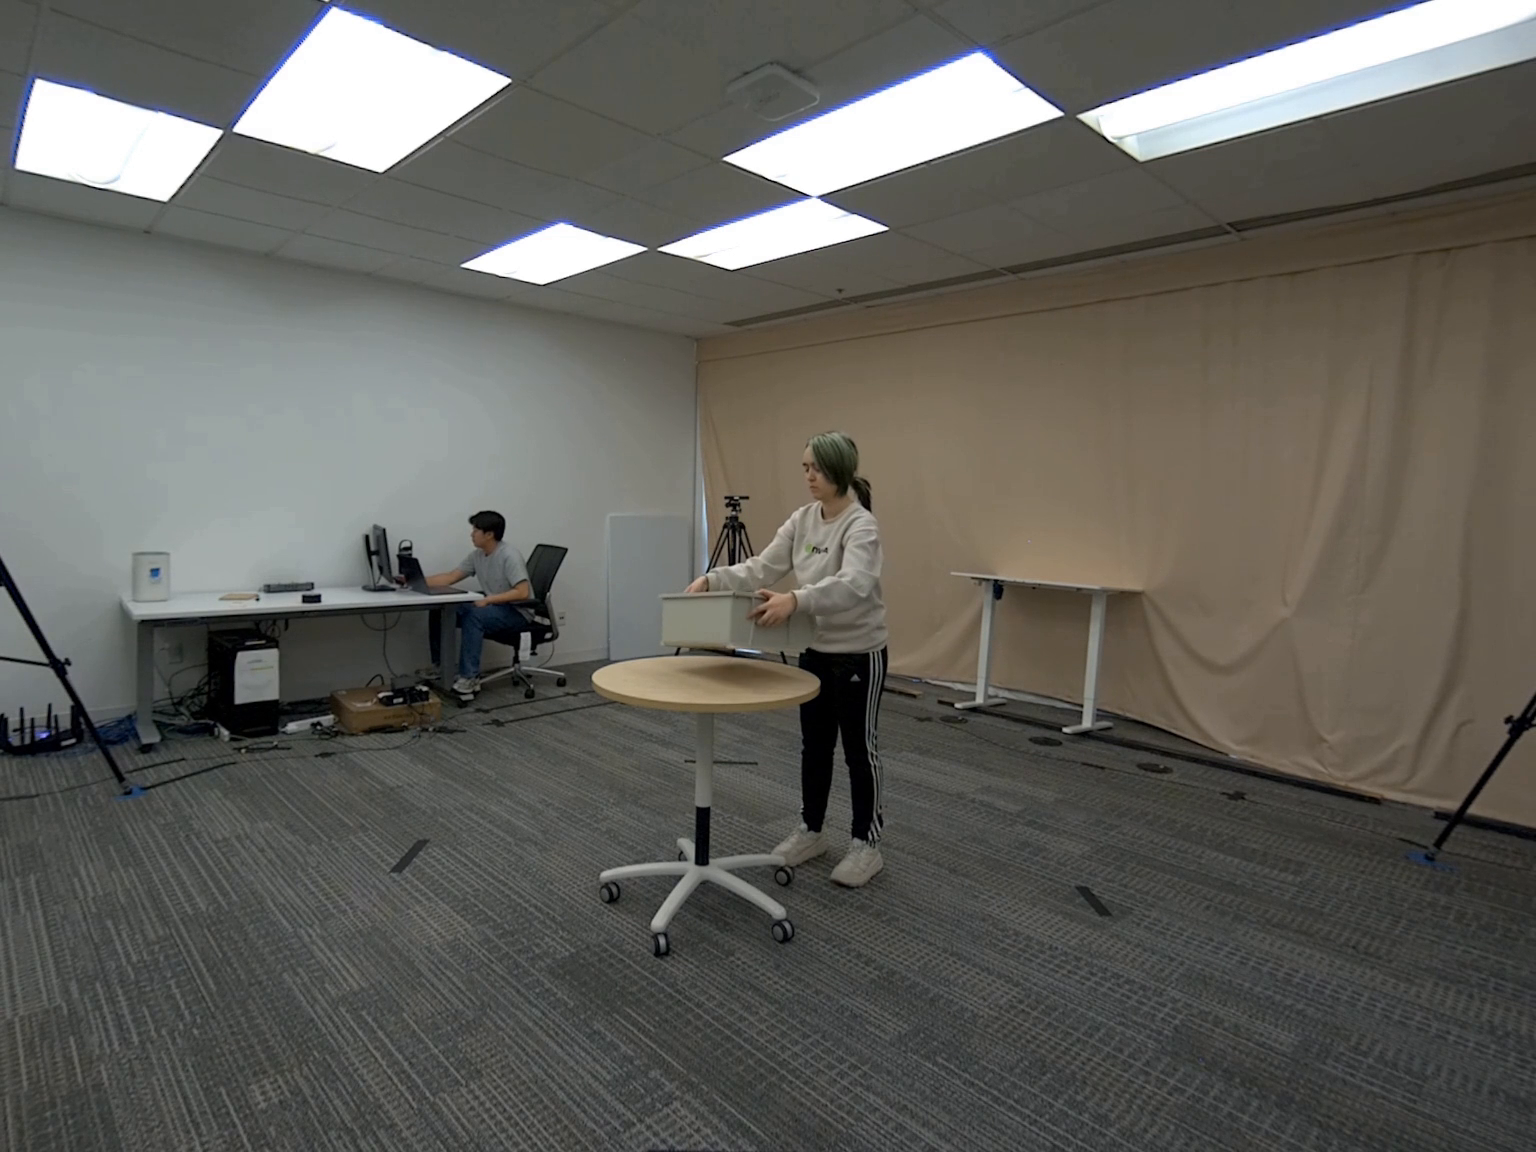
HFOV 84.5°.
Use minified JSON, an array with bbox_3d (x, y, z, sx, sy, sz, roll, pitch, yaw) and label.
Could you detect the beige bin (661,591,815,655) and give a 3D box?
[{"bbox_3d":[-0.114,0.164,2.881,0.368,0.189,0.432,5,-4,-39],"label":"beige bin"}]
